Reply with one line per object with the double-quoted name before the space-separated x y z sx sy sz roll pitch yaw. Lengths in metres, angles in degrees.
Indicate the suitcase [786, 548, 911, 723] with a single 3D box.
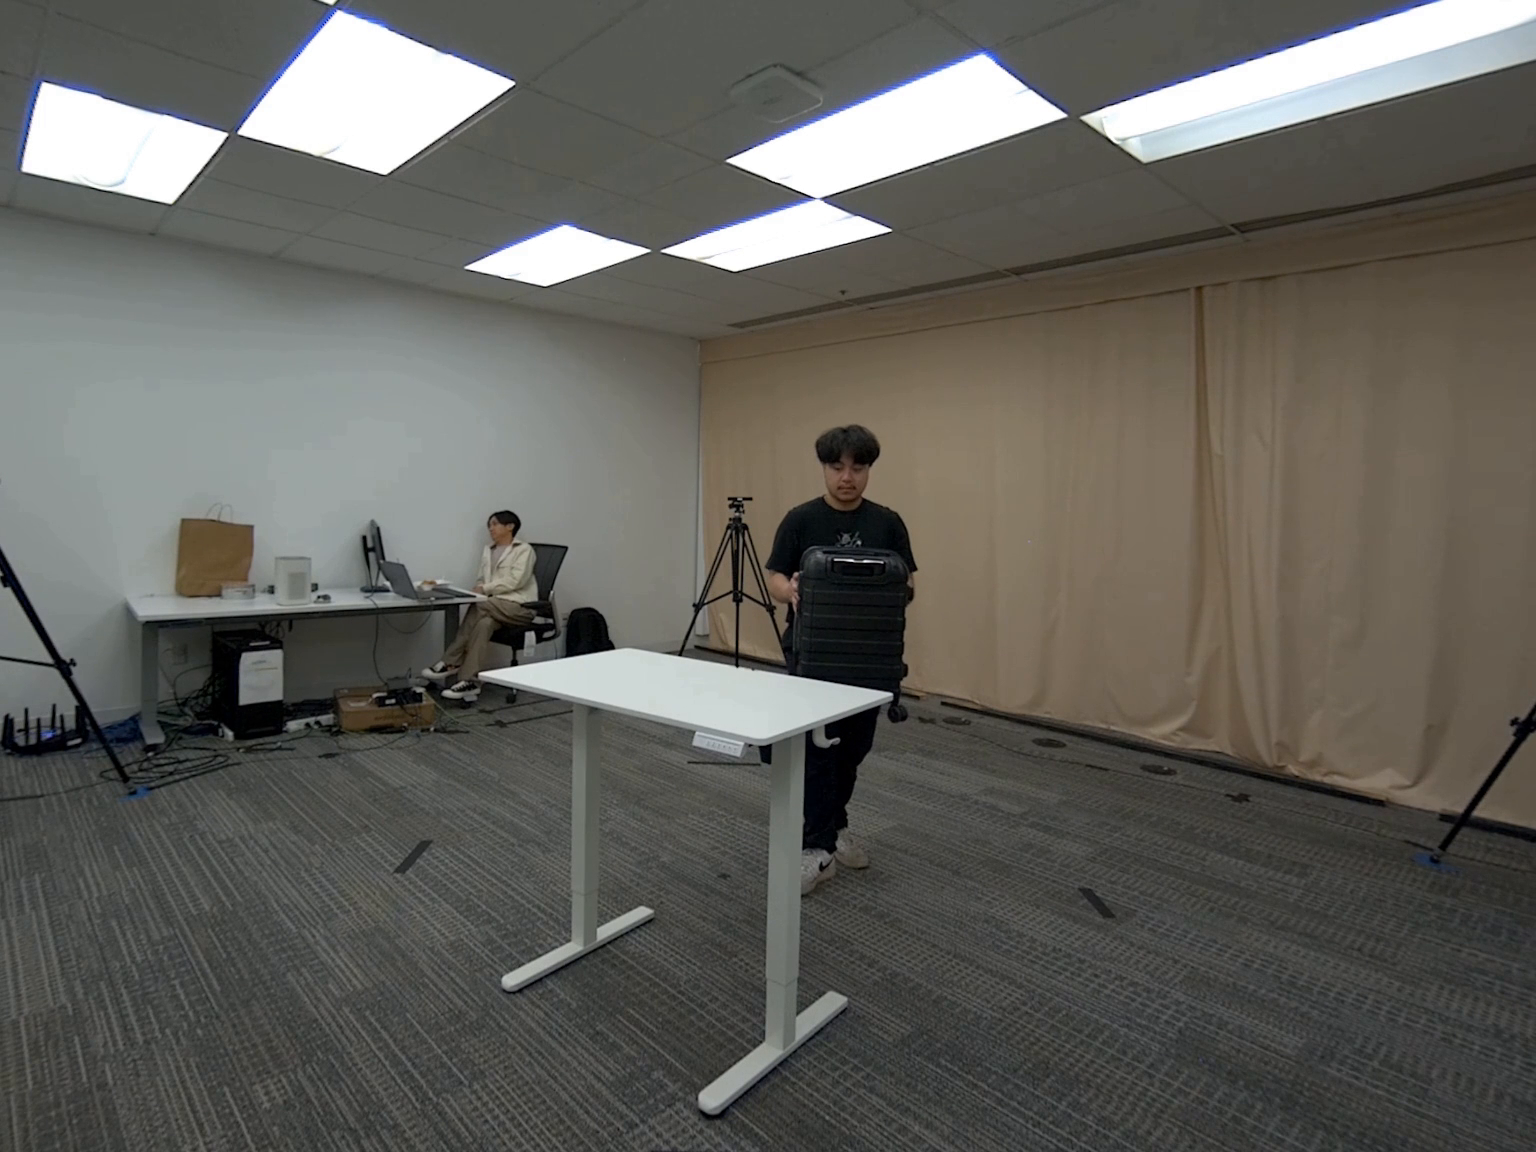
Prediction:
"suitcase" 0.265 0.172 2.823 0.376 0.546 0.250 2 9 1
